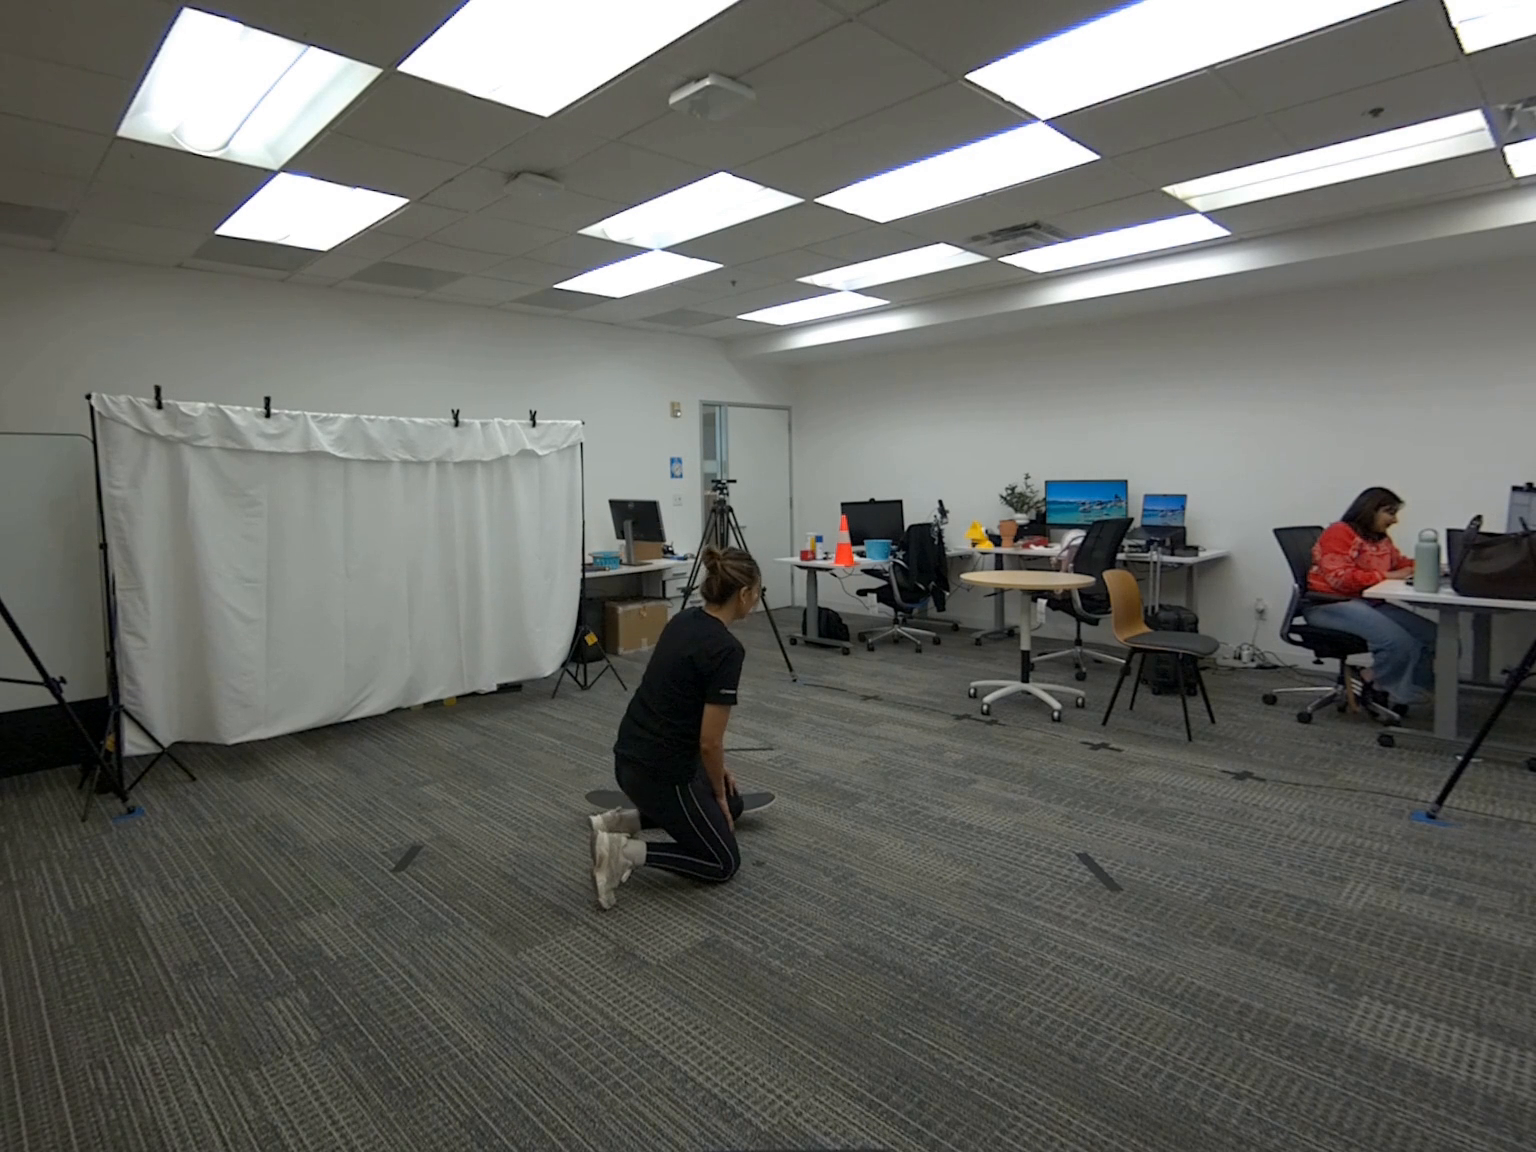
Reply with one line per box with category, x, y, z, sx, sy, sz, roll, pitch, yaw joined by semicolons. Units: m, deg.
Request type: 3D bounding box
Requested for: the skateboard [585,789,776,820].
skateboard;-0.351;0.950;3.498;0.790;0.110;0.193;0;6;6
